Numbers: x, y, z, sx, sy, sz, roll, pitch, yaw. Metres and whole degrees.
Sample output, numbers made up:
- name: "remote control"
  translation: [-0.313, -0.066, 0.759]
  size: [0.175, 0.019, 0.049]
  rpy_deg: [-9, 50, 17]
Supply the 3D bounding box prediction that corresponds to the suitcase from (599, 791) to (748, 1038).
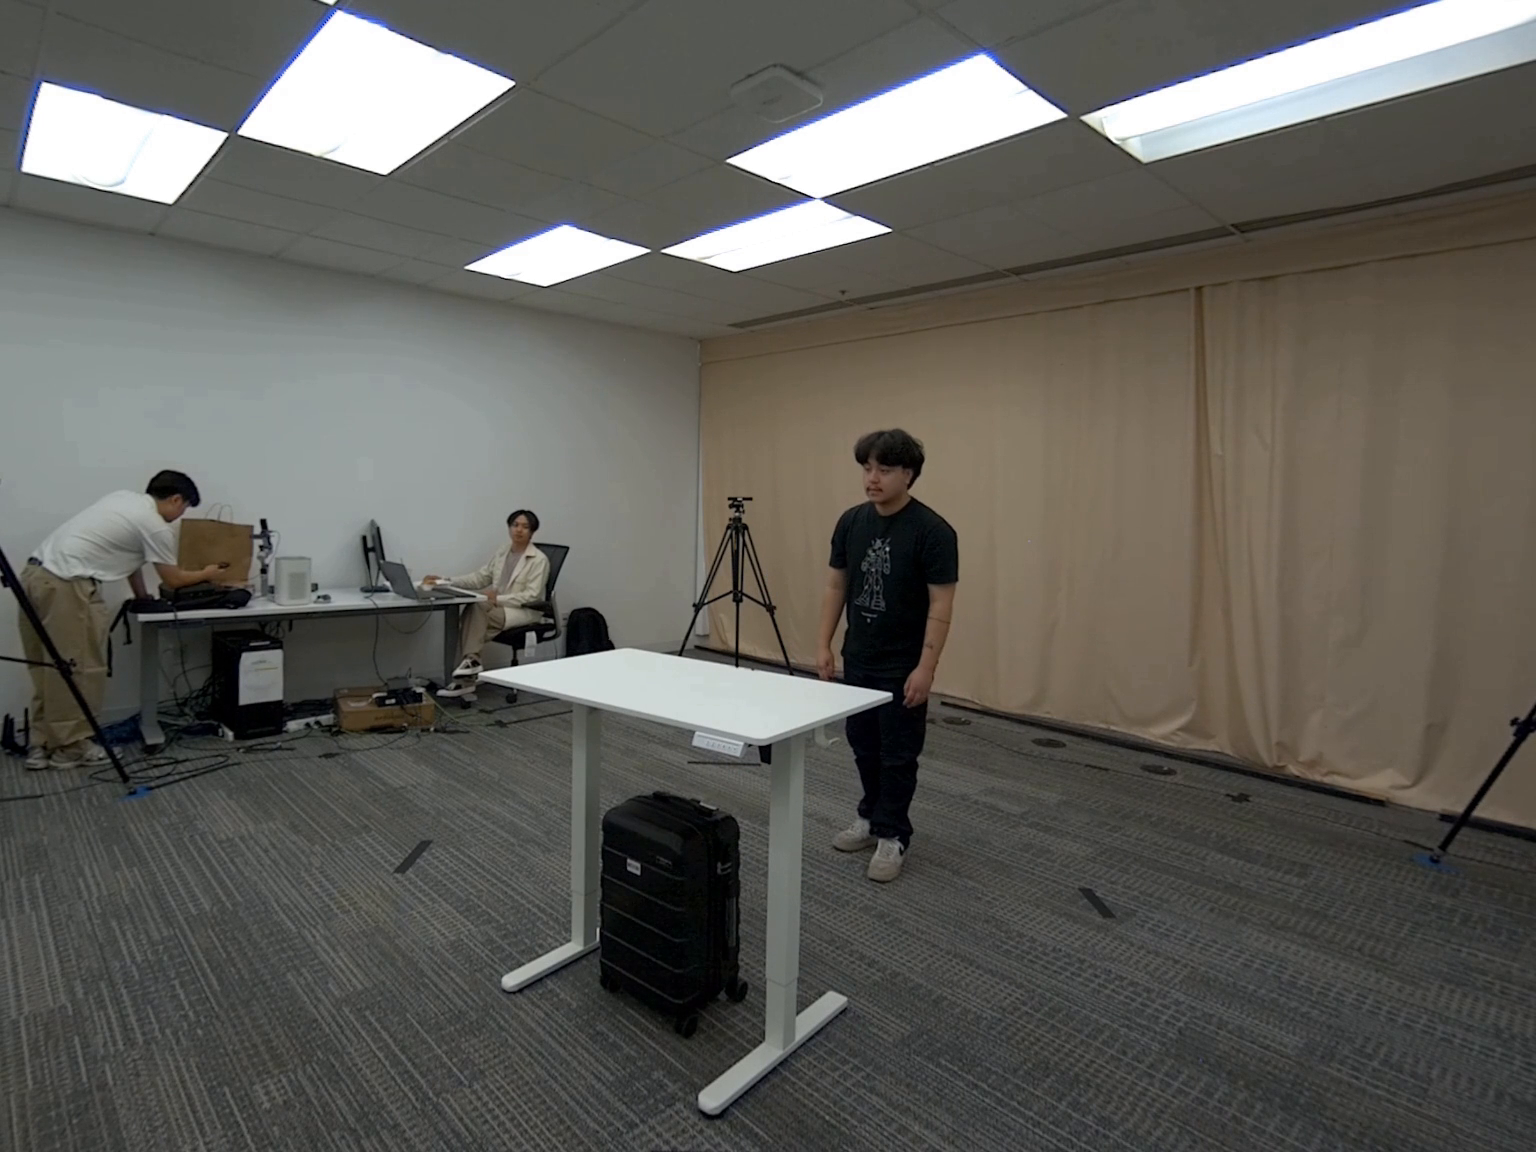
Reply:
- name: "suitcase"
  translation: [-0.279, 0.910, 2.323]
  size: [0.384, 0.547, 0.243]
  rpy_deg: [2, 6, 38]
